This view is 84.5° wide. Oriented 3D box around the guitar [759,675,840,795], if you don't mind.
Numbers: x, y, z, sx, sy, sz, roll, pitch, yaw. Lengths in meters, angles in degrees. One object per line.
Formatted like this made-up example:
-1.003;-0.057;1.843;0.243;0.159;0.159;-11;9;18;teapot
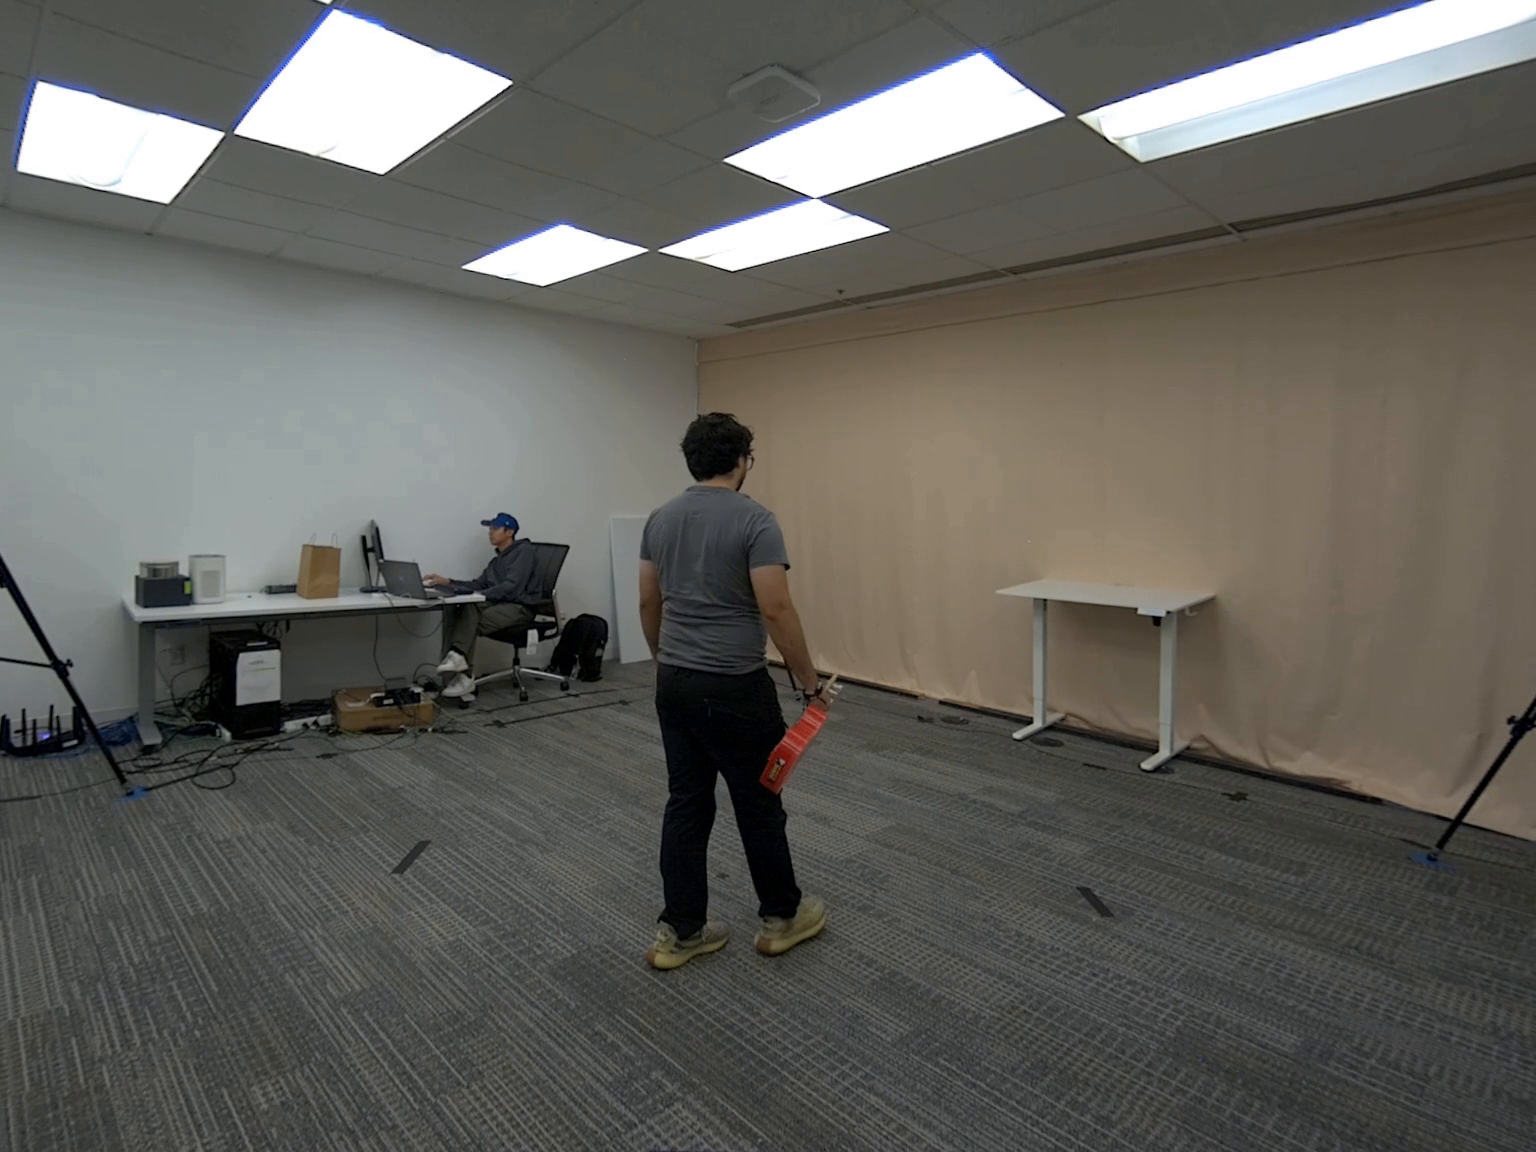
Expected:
0.123;0.401;2.401;0.072;0.190;0.498;29;41;11;guitar
